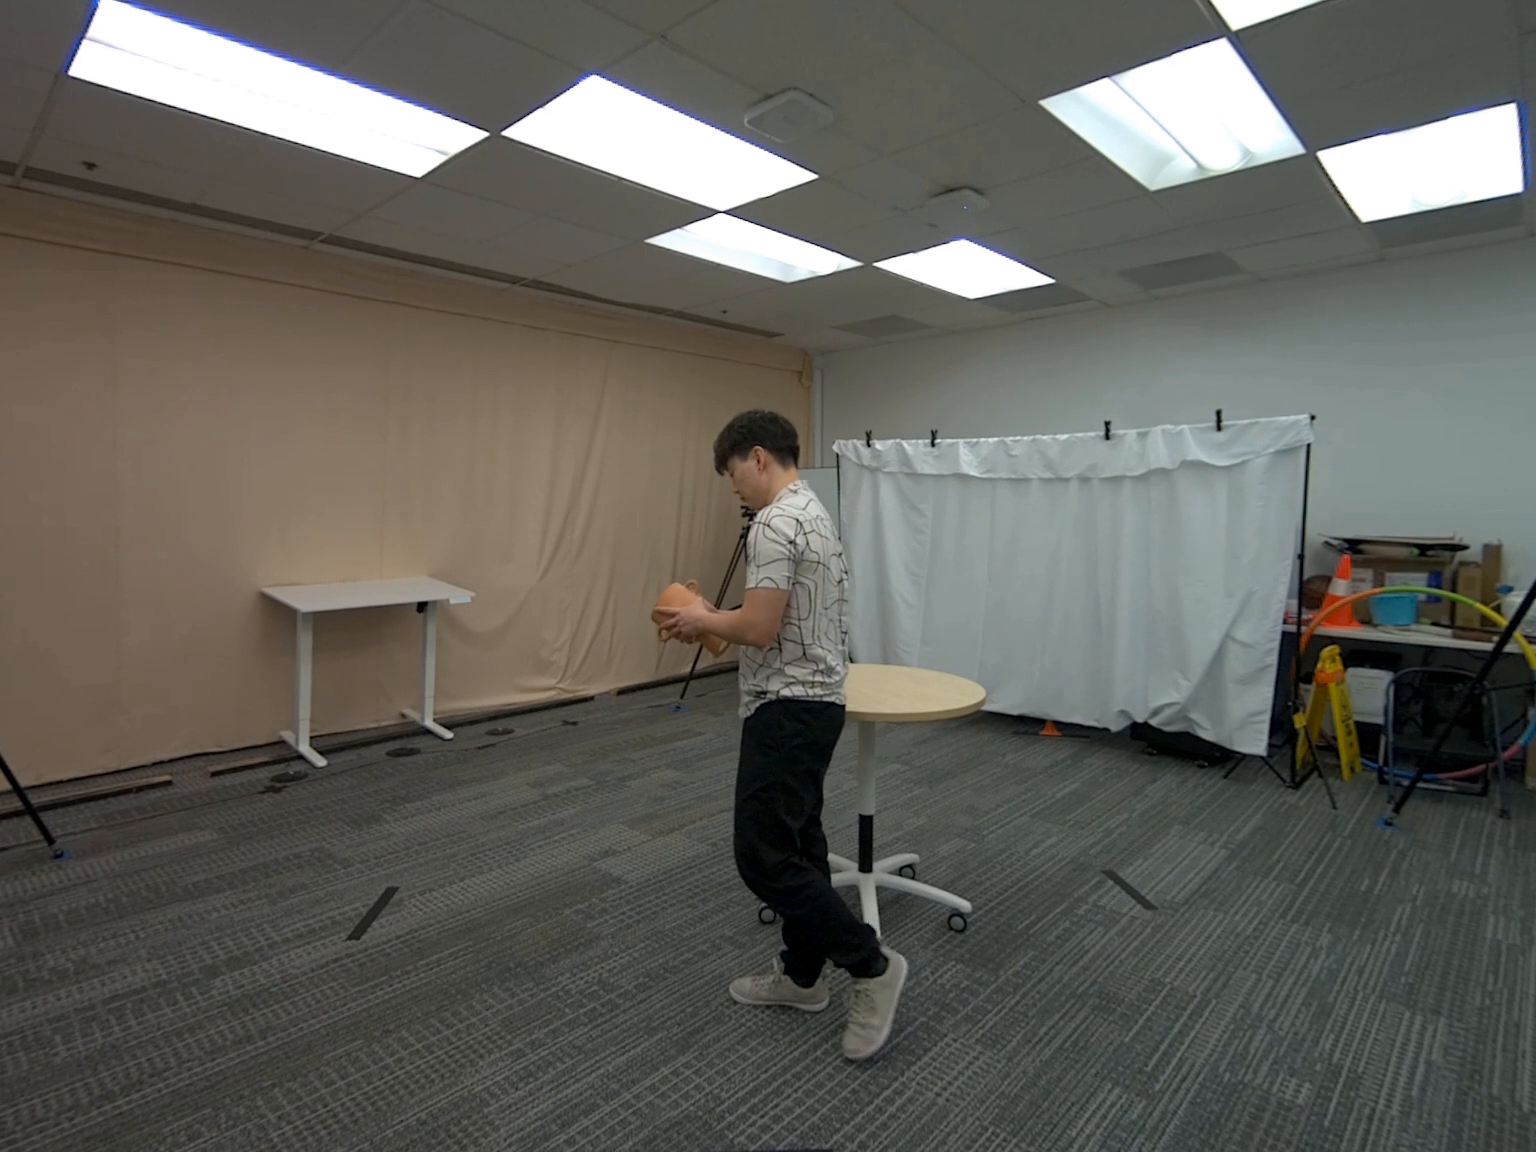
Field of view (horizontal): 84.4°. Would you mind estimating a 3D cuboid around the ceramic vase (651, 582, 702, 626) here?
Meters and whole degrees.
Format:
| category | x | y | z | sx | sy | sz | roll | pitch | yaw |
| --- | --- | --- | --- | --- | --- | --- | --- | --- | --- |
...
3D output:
| category | x | y | z | sx | sy | sz | roll | pitch | yaw |
| --- | --- | --- | --- | --- | --- | --- | --- | --- | --- |
| ceramic vase | -0.206 | 0.134 | 2.397 | 0.225 | 0.157 | 0.133 | 33 | 44 | 18 |
